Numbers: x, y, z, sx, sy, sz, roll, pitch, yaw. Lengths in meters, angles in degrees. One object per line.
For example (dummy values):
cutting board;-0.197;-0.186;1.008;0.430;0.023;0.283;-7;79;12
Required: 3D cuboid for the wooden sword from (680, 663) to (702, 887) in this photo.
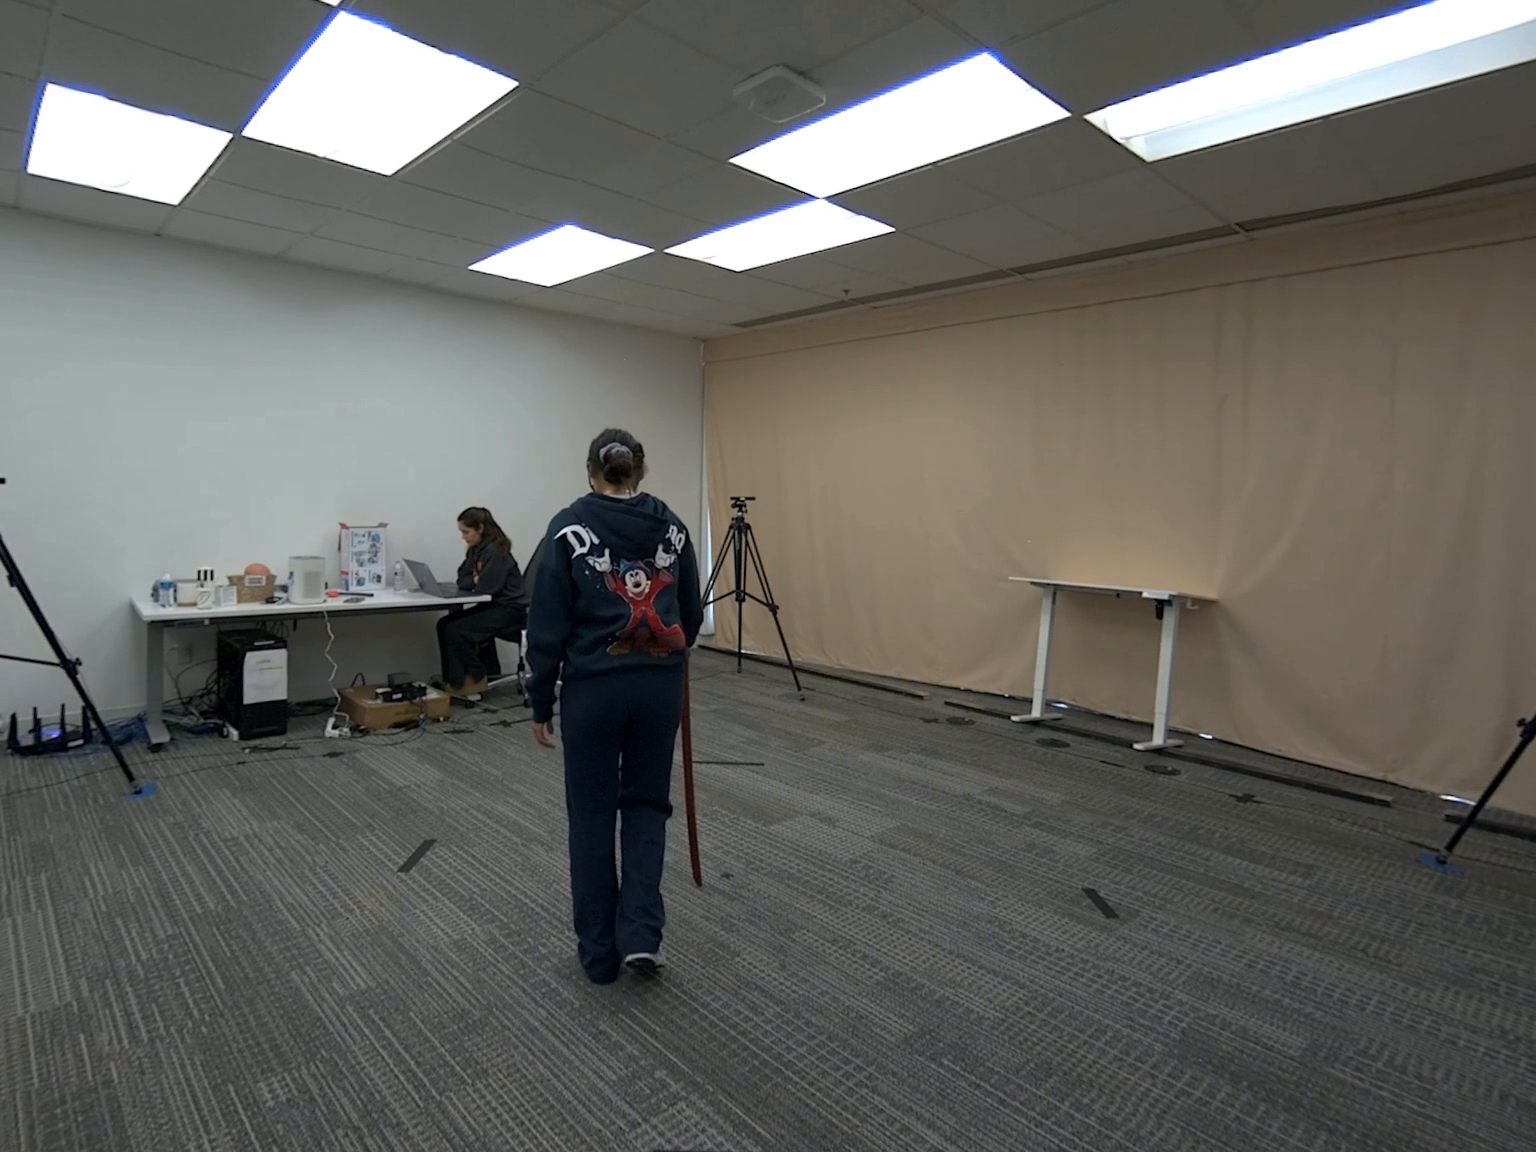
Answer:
wooden sword;-0.280;0.621;2.979;0.024;1.022;0.050;-2;3;26
